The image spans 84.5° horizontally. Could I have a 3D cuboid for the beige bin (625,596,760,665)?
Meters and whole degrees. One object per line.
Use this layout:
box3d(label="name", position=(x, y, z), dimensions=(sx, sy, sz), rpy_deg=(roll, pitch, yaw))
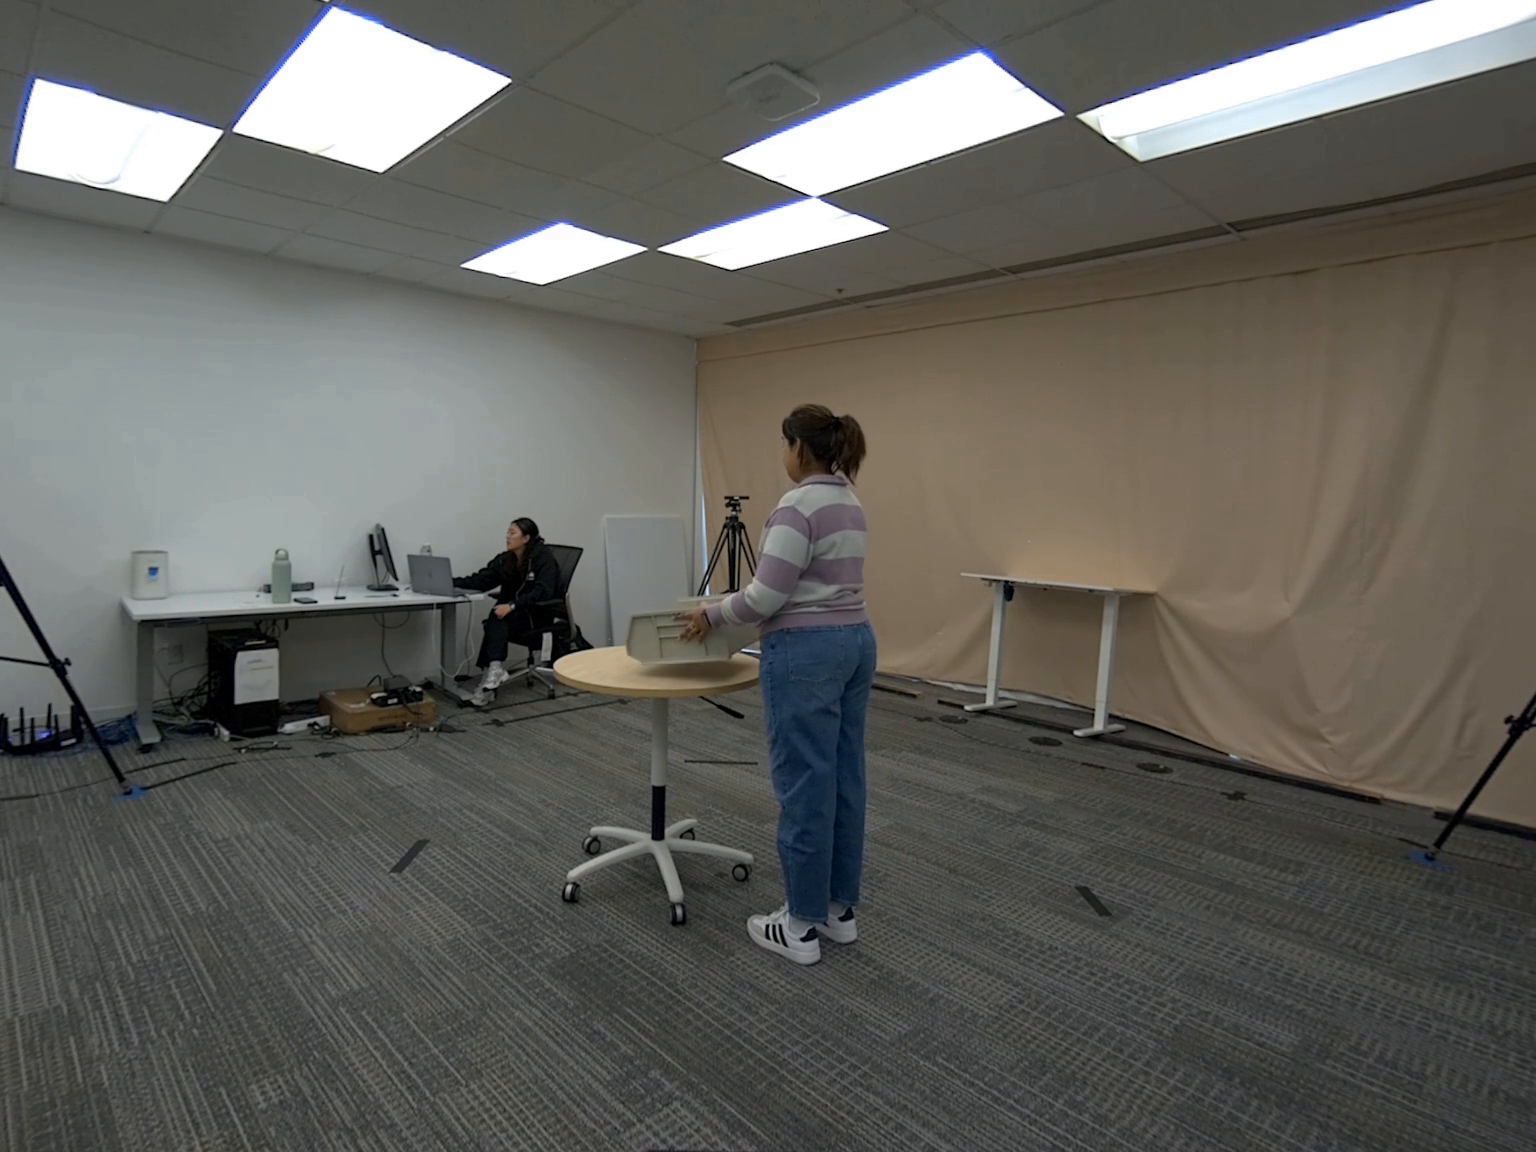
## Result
box3d(label="beige bin", position=(-0.256, 0.177, 2.976), dimensions=(0.382, 0.188, 0.418), rpy_deg=(-3, 4, 17))
